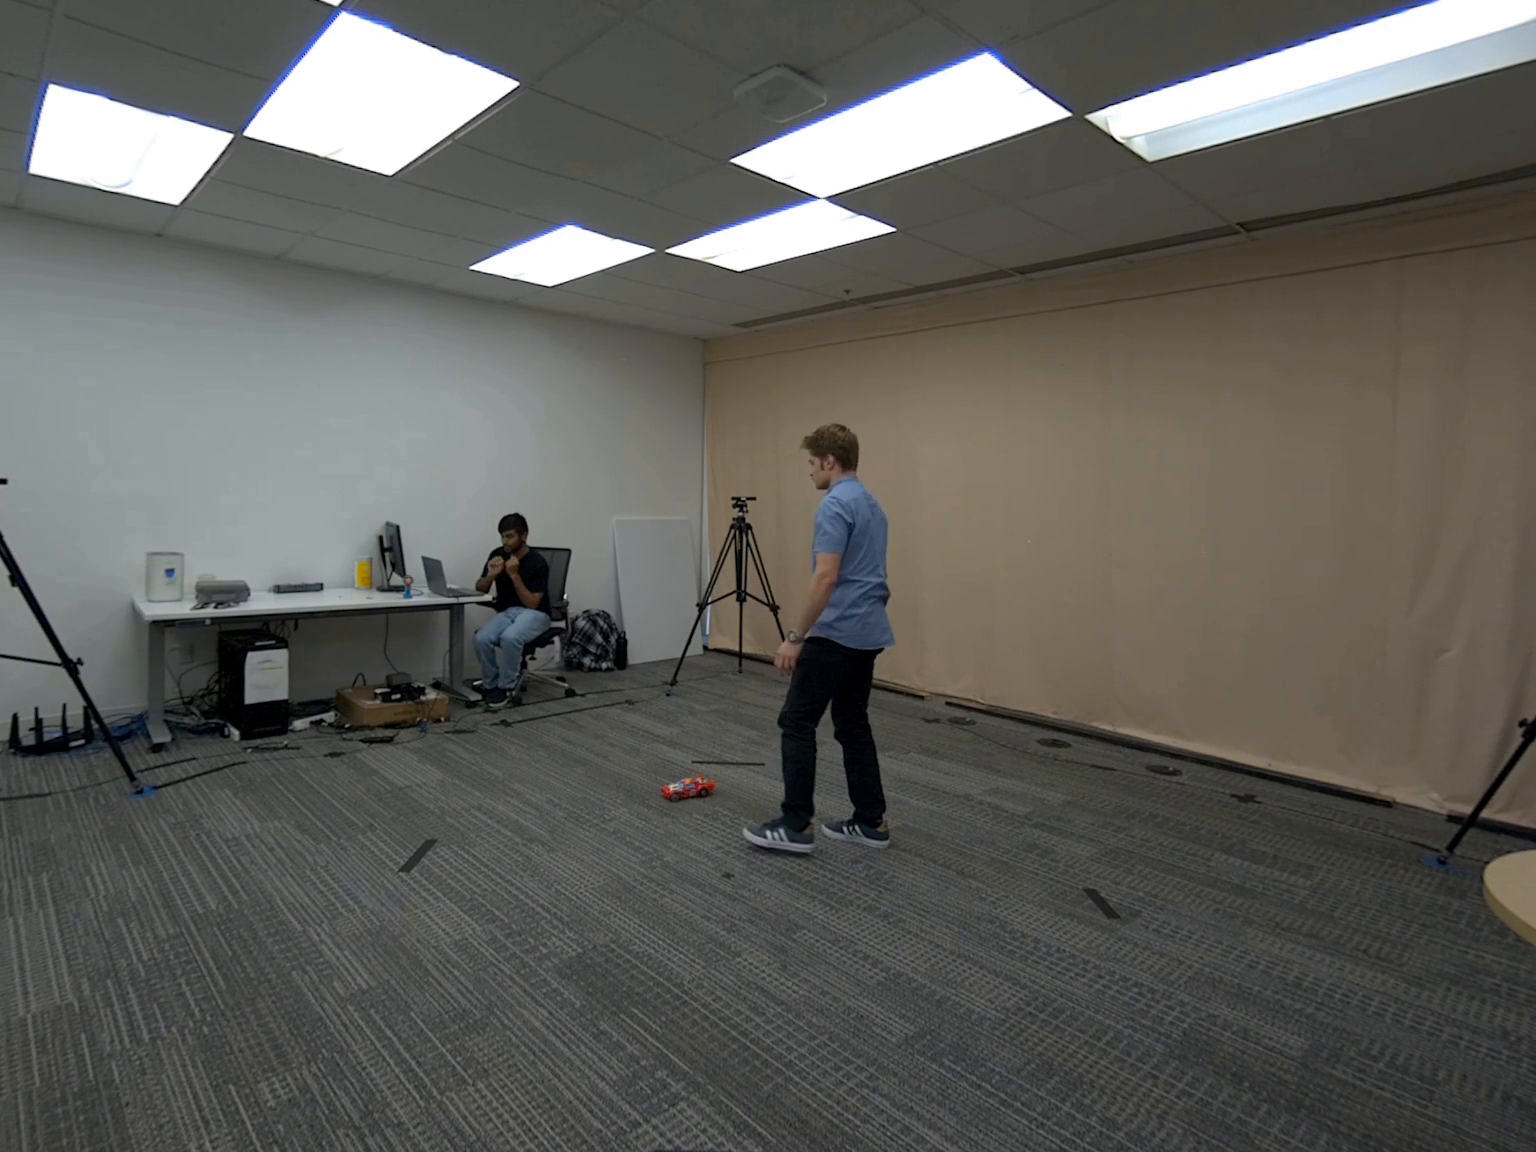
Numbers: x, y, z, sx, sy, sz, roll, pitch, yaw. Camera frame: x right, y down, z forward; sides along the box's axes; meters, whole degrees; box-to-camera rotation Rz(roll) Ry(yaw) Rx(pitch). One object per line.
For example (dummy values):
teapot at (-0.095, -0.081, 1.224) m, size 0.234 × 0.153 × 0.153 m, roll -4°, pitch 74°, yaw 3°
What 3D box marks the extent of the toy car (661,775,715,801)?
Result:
toy car at (-0.383, 0.998, 3.944) m, size 0.251 × 0.082 × 0.133 m, roll -13°, pitch 10°, yaw -26°
